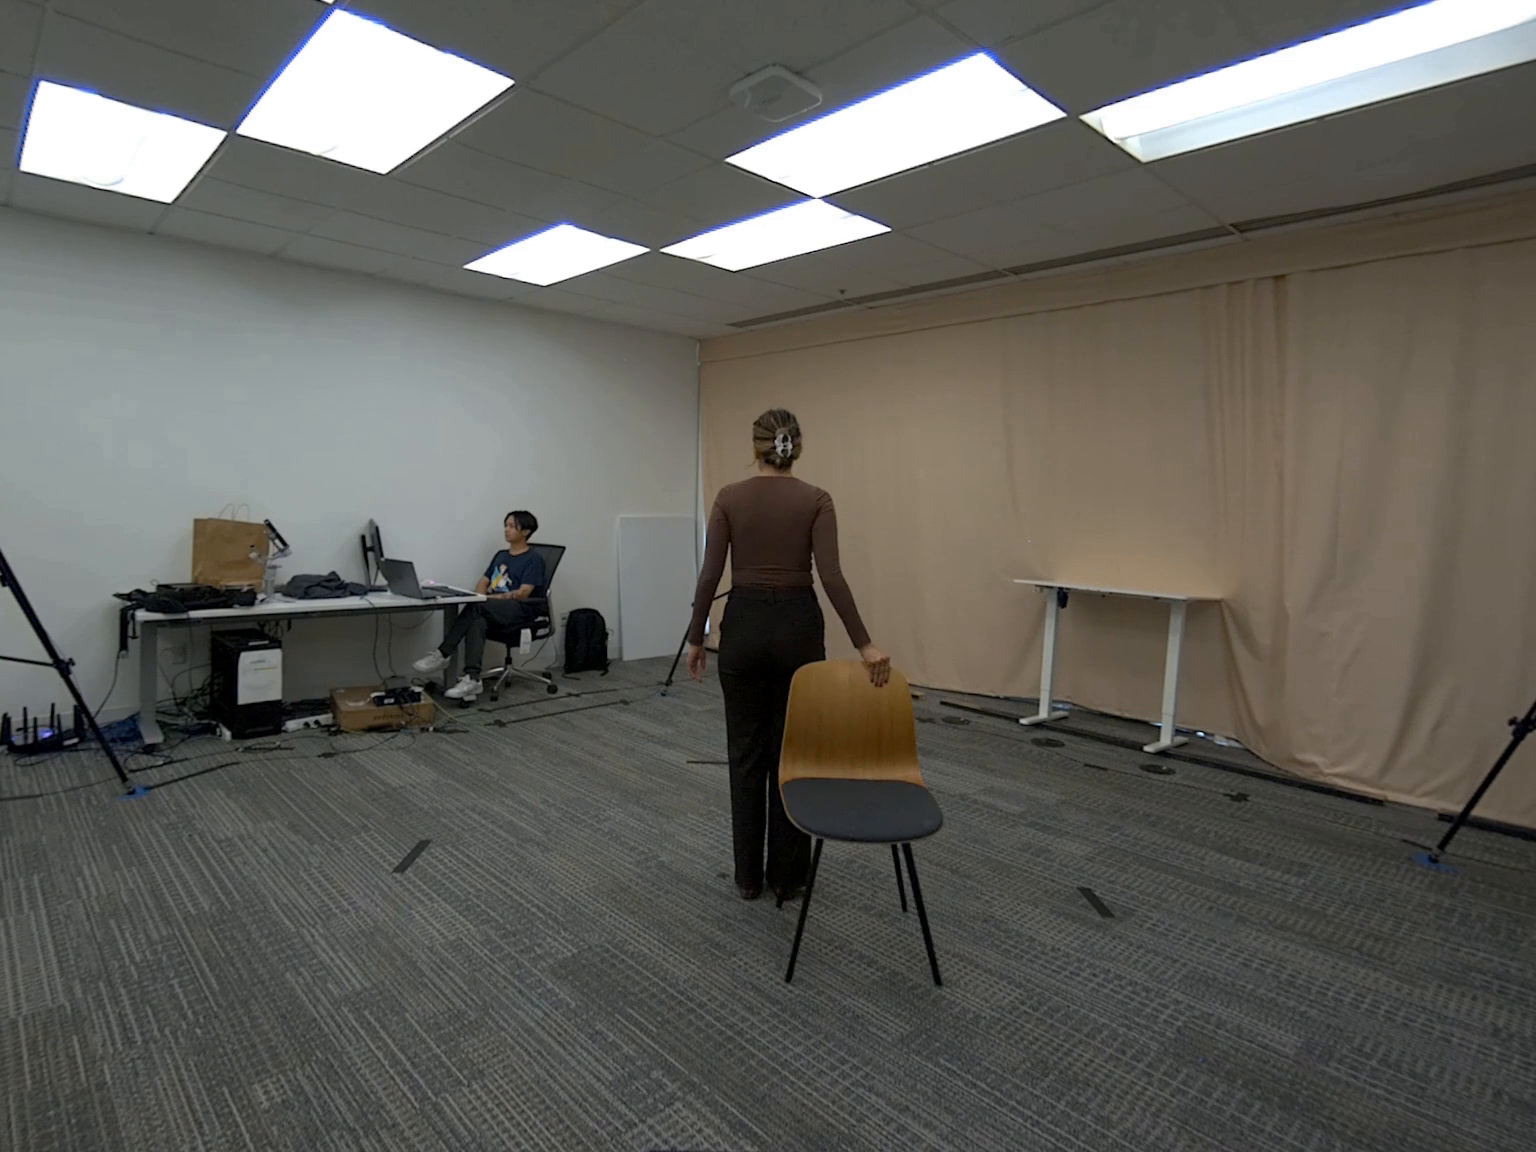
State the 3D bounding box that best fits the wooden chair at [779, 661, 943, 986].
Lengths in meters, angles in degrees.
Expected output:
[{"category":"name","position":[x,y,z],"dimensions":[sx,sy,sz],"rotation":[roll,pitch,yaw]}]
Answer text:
[{"category":"wooden chair","position":[0.265,0.735,2.616],"dimensions":[0.478,0.877,0.523],"rotation":[2,0,-2]}]
